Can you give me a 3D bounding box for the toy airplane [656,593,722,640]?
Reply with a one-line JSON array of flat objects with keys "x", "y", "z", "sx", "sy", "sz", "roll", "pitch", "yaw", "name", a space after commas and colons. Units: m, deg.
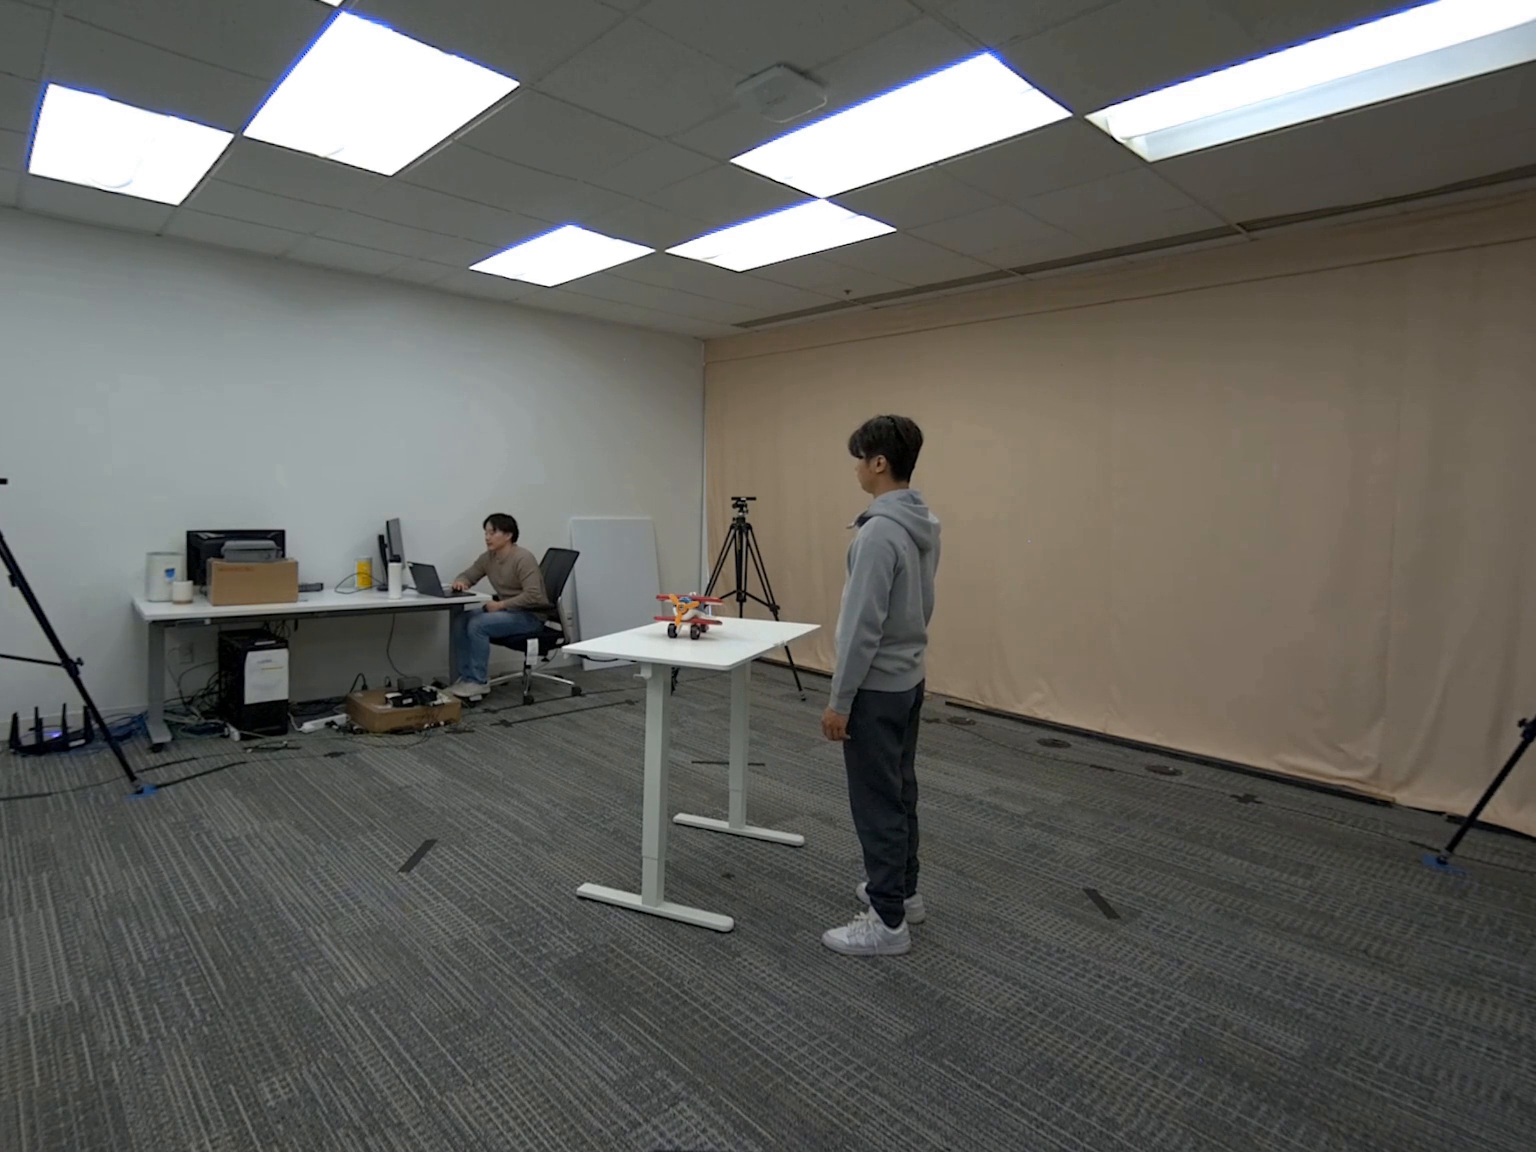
[{"x": -0.304, "y": 0.144, "z": 3.111, "sx": 0.248, "sy": 0.156, "sz": 0.263, "roll": 1, "pitch": 4, "yaw": -14, "name": "toy airplane"}]
